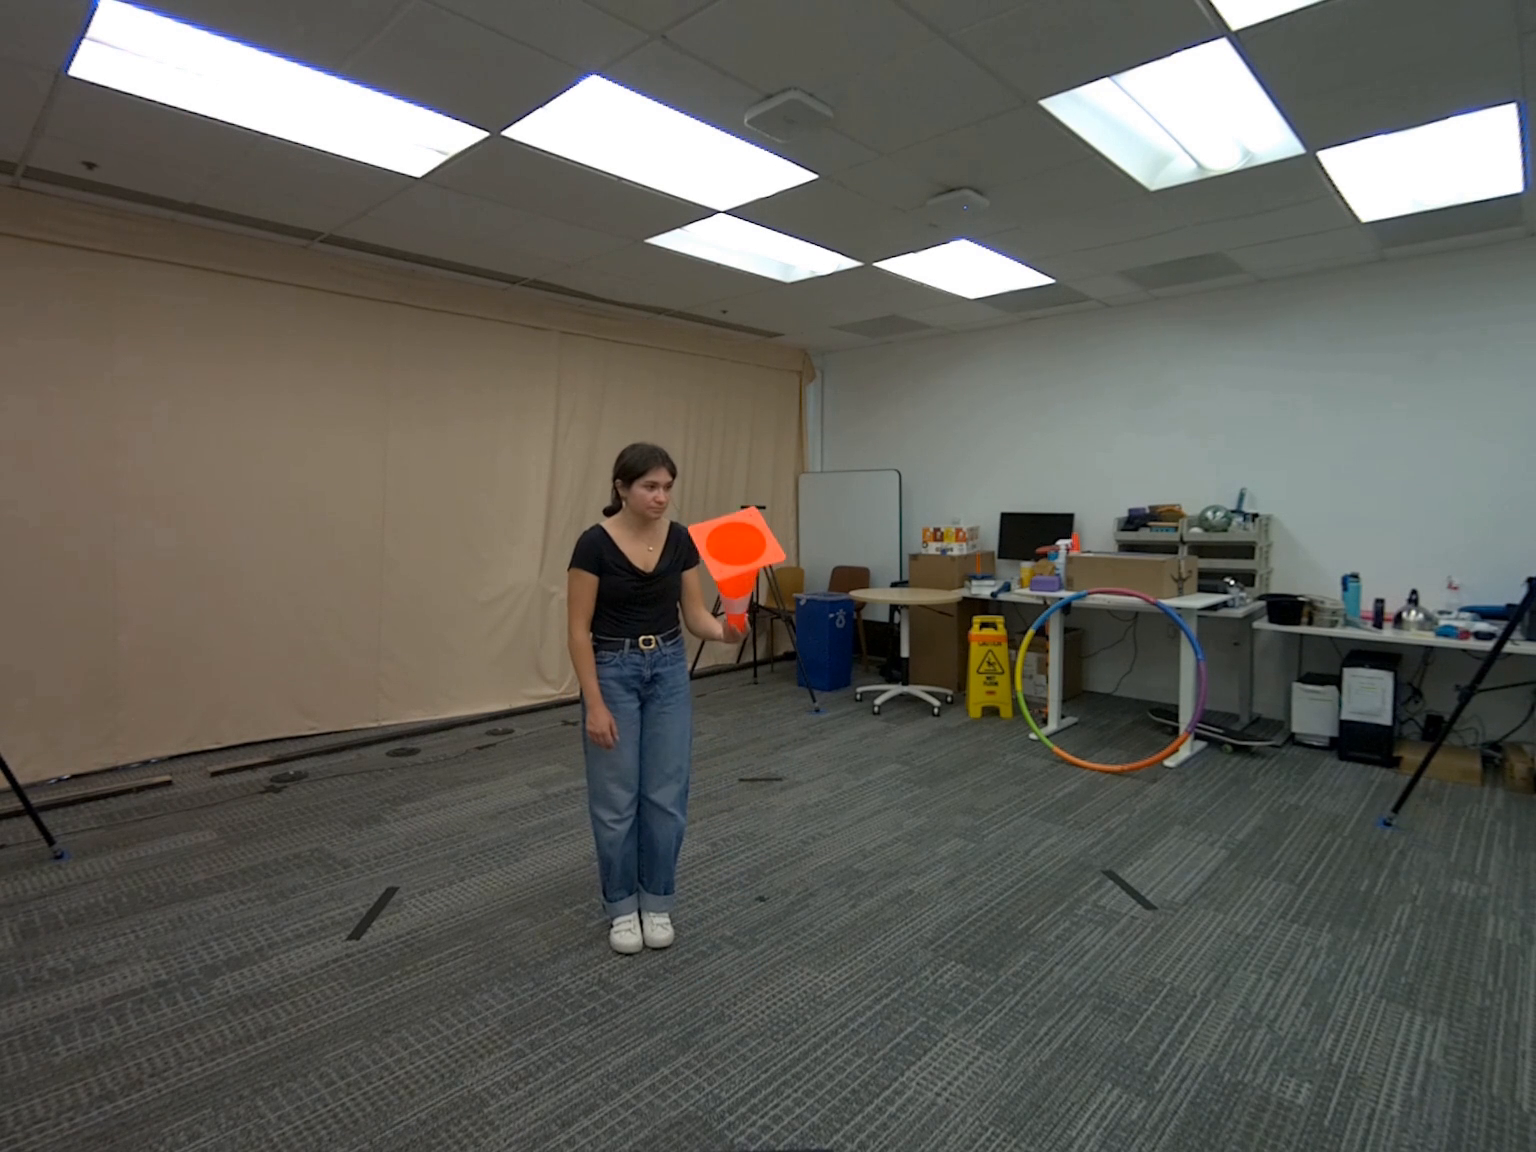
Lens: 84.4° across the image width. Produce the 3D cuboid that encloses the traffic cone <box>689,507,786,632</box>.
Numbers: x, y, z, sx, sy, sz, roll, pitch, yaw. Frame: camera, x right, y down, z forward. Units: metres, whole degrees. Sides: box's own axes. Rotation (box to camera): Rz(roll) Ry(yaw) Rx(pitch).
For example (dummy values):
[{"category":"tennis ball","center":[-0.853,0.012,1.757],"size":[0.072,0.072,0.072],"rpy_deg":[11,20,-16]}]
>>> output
[{"category":"traffic cone","center":[-0.089,0.062,2.315],"size":[0.202,0.377,0.209],"rpy_deg":[-14,50,-15]}]
